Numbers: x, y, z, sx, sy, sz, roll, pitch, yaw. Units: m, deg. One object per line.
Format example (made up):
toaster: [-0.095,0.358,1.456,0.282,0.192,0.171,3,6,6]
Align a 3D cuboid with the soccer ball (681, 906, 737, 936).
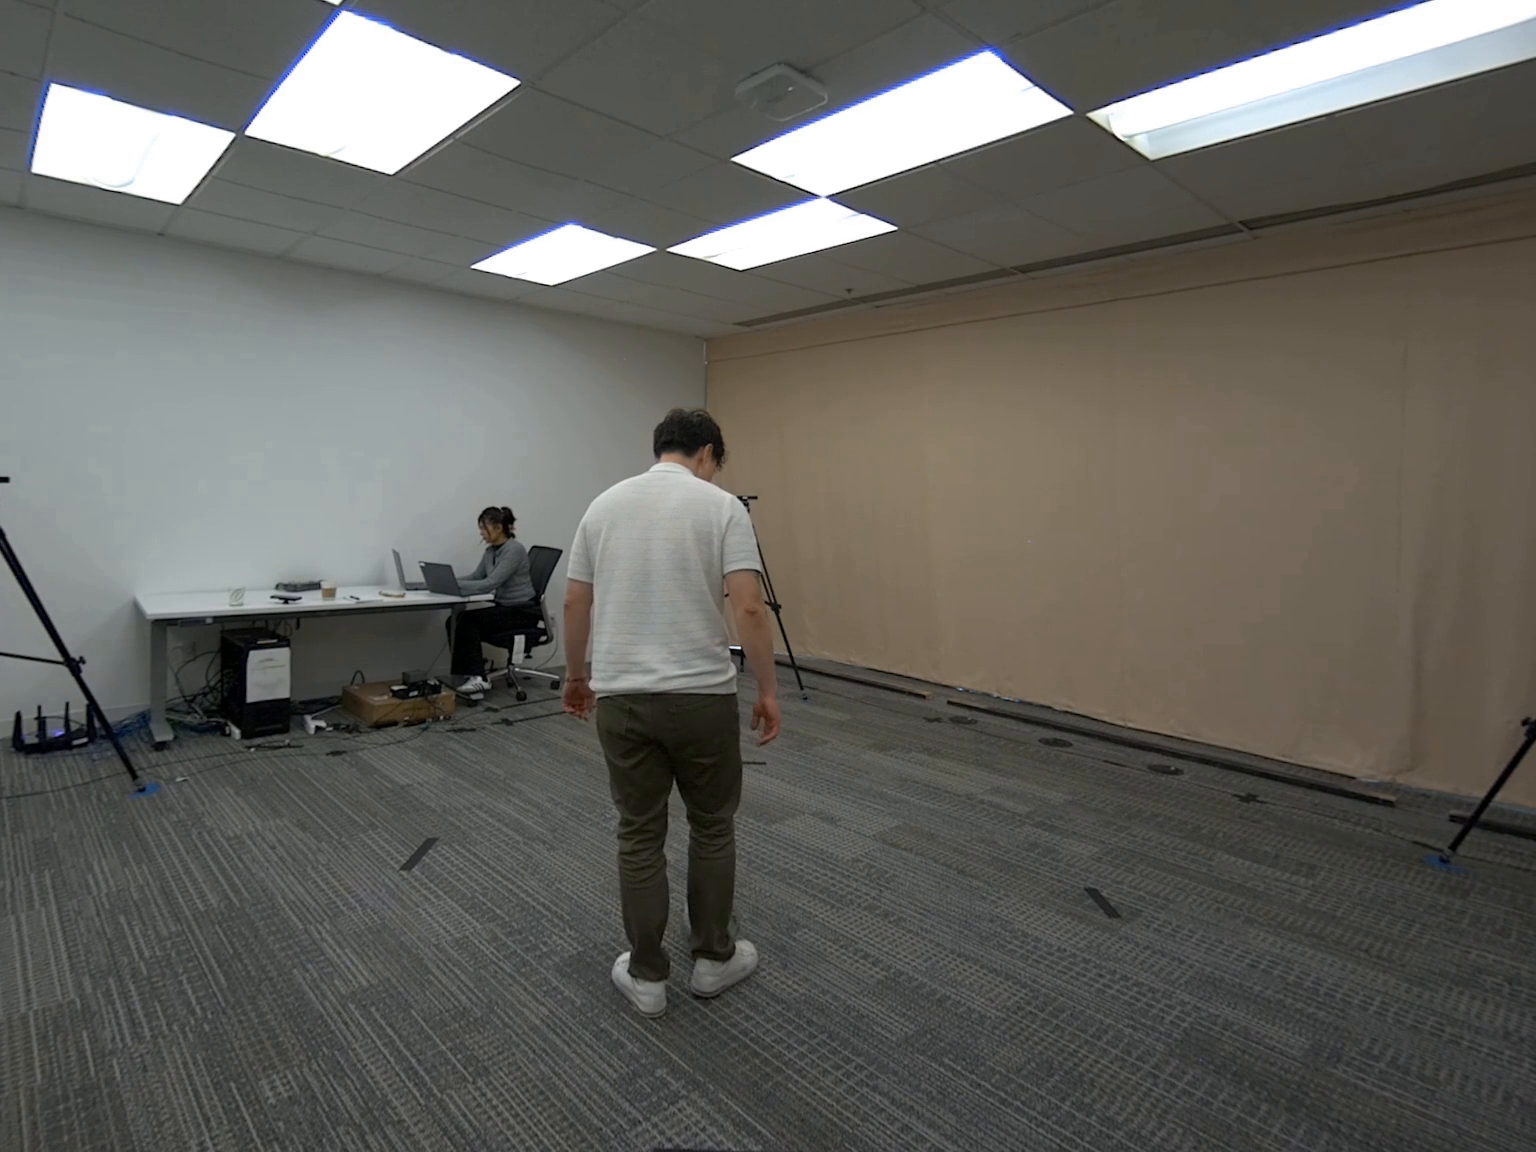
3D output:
soccer ball: [-0.186,1.059,2.577,0.187,0.187,0.188,1,4,-1]
